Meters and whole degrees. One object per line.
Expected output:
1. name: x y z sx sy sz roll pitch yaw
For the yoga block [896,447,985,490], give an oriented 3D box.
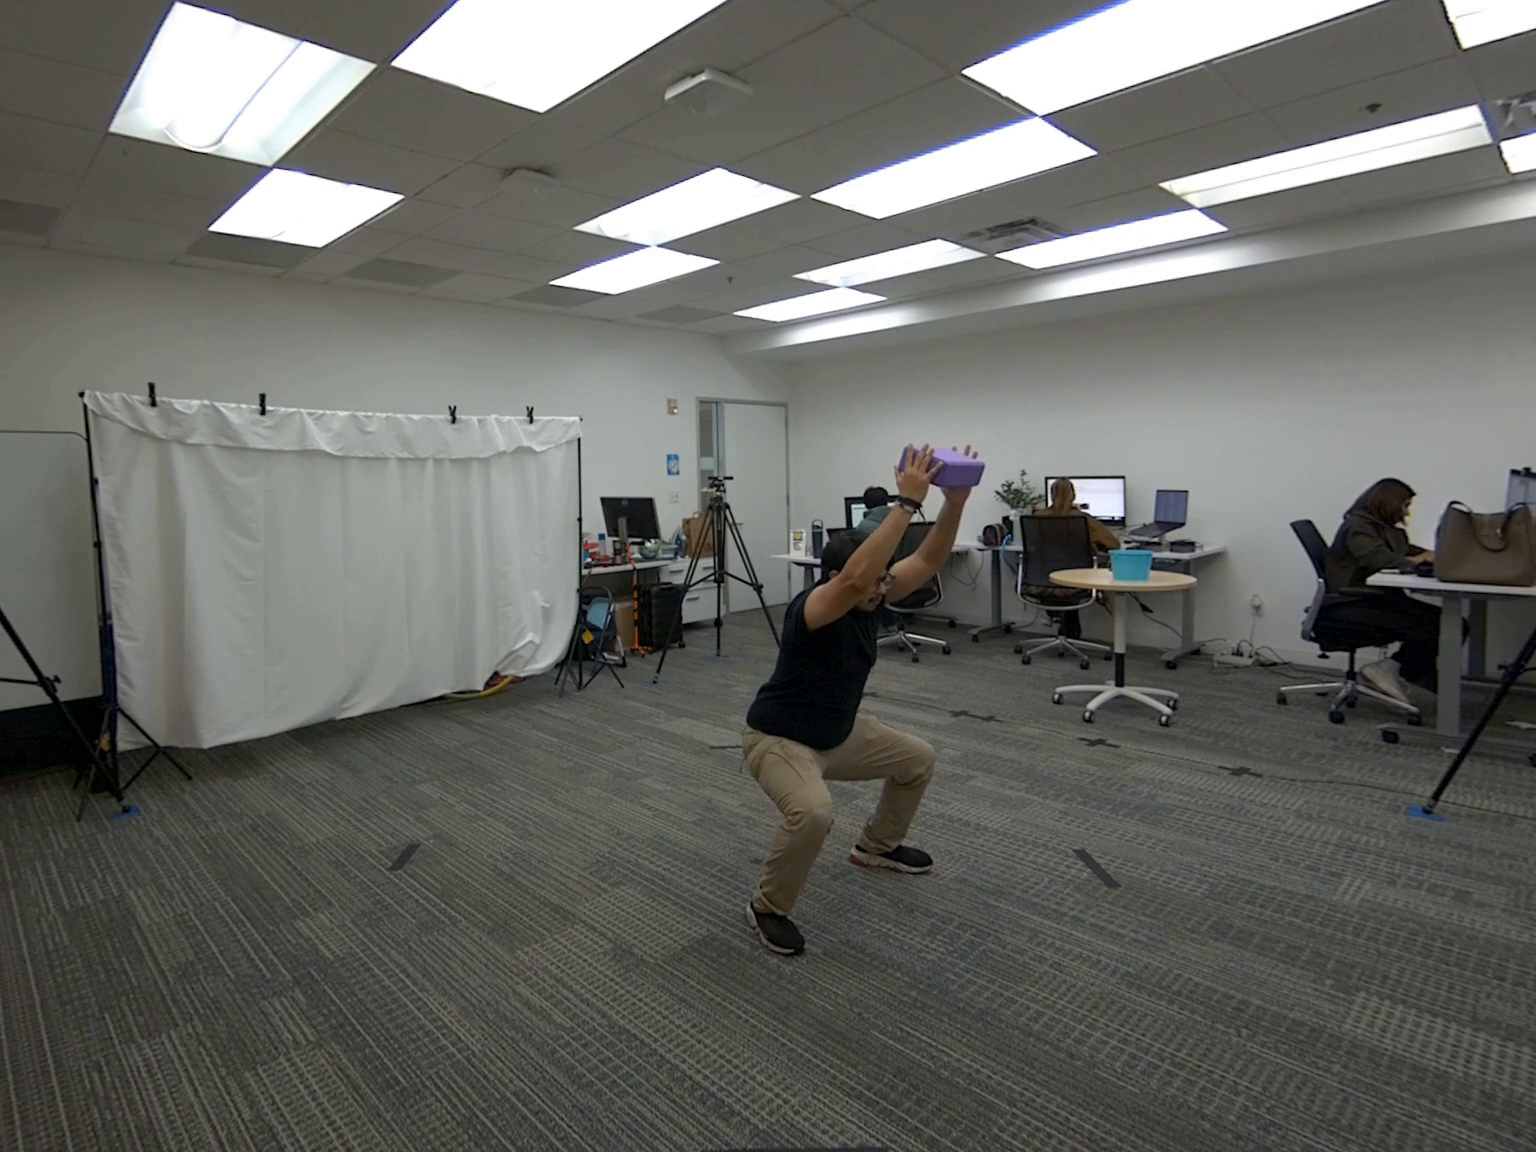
1. yoga block: 0.507 -0.316 2.436 0.223 0.075 0.155 -5 30 -45
